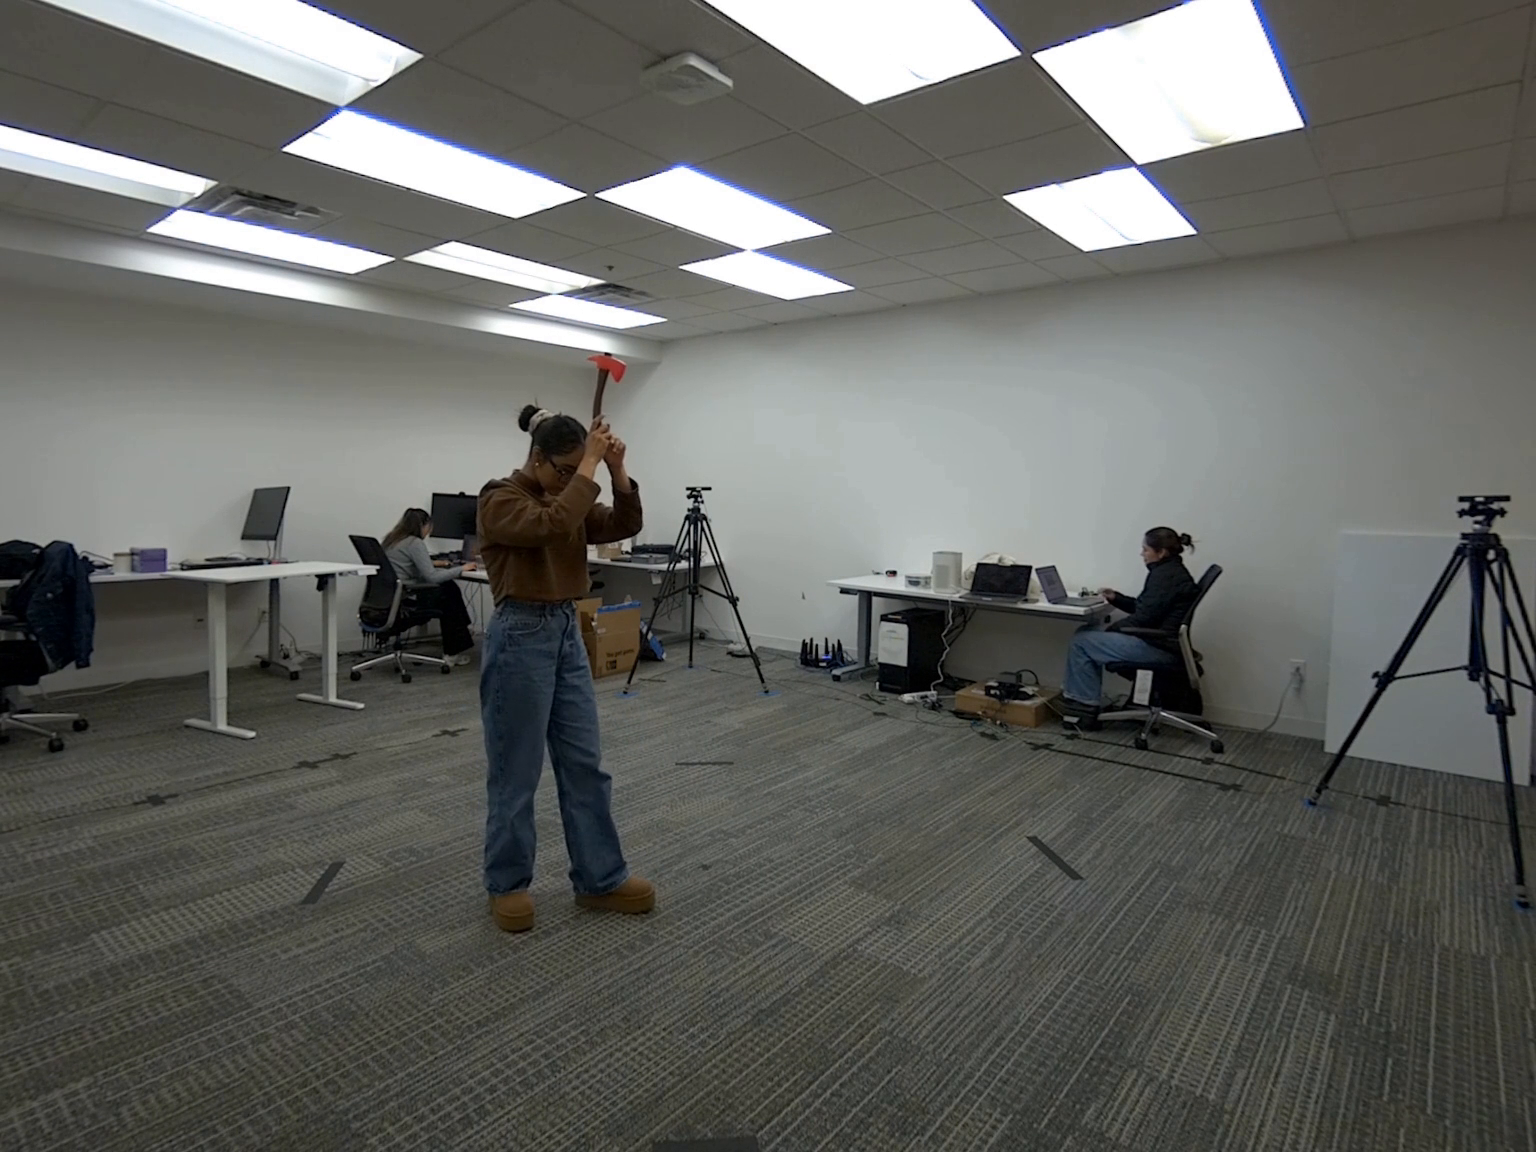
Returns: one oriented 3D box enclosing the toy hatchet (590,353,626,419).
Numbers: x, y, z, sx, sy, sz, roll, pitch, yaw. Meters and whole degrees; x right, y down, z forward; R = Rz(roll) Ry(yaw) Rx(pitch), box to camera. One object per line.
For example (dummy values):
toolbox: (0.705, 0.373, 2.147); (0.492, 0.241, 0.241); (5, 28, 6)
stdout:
toy hatchet: (-0.482, -0.543, 2.567); (0.133, 0.269, 0.029); (-3, 2, 17)
